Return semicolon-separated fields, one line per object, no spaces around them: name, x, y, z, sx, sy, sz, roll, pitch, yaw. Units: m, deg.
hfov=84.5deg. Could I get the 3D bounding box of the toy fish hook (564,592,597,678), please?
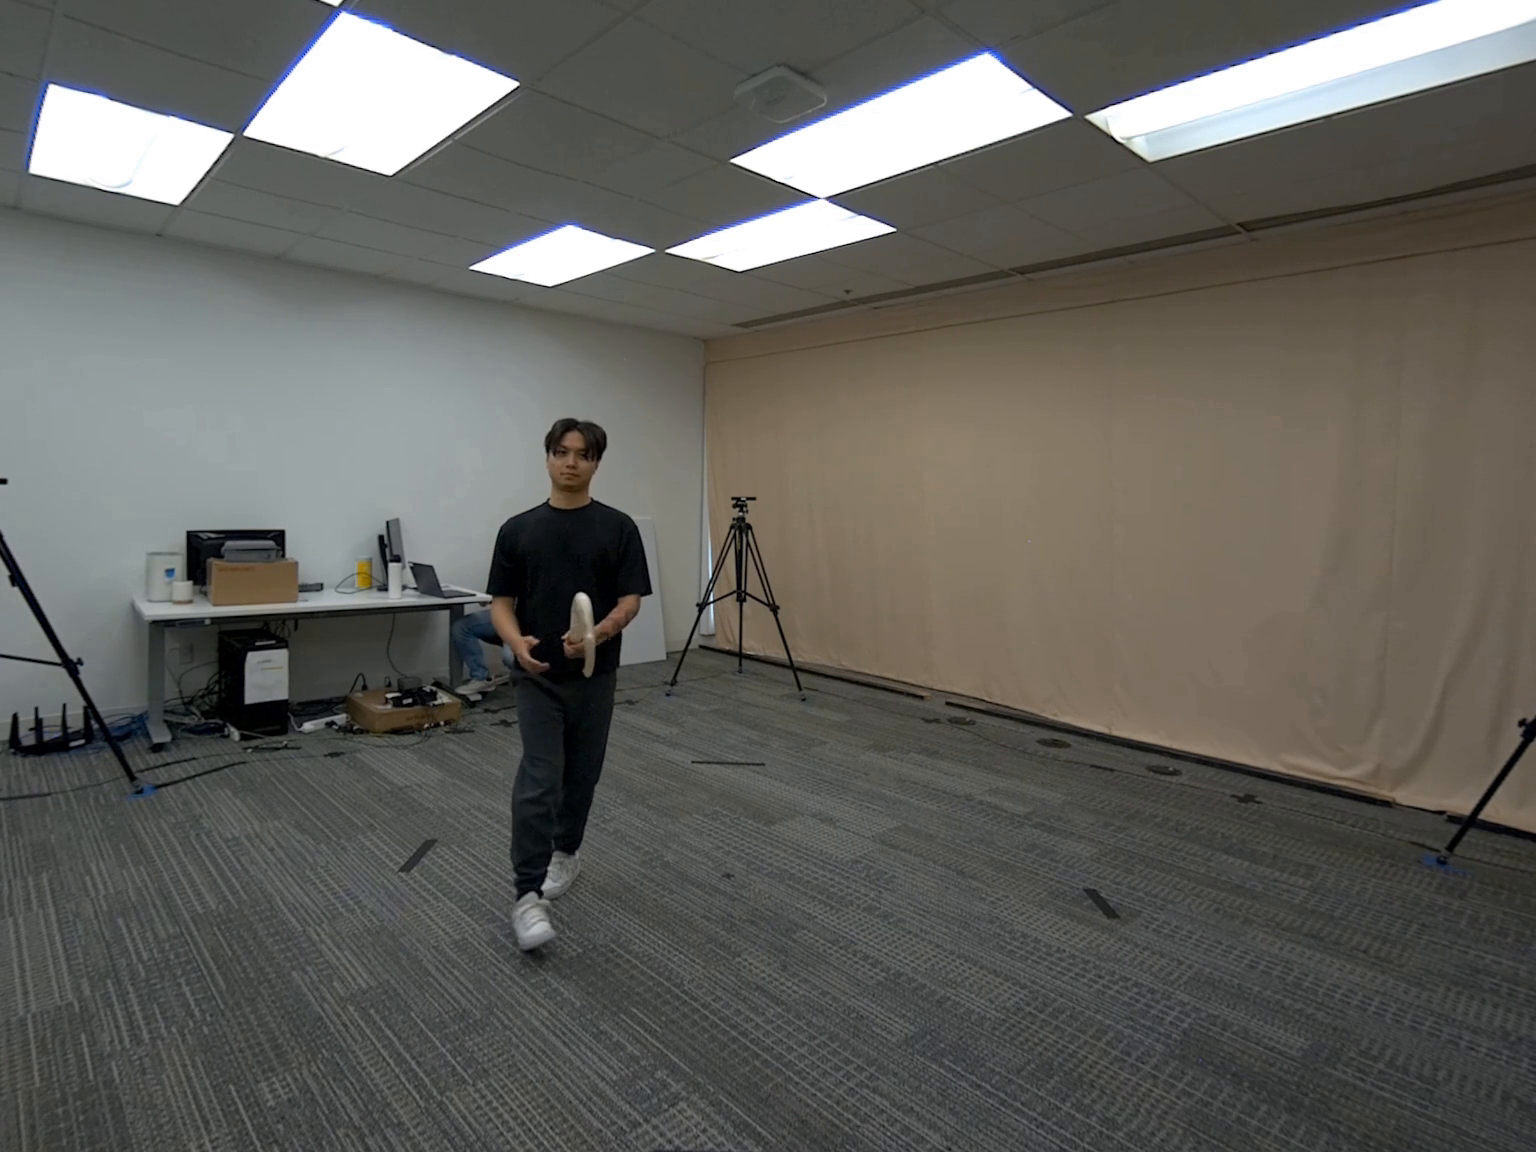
toy fish hook;-0.541;0.221;2.431;0.048;0.228;0.503;-2;-20;-14
